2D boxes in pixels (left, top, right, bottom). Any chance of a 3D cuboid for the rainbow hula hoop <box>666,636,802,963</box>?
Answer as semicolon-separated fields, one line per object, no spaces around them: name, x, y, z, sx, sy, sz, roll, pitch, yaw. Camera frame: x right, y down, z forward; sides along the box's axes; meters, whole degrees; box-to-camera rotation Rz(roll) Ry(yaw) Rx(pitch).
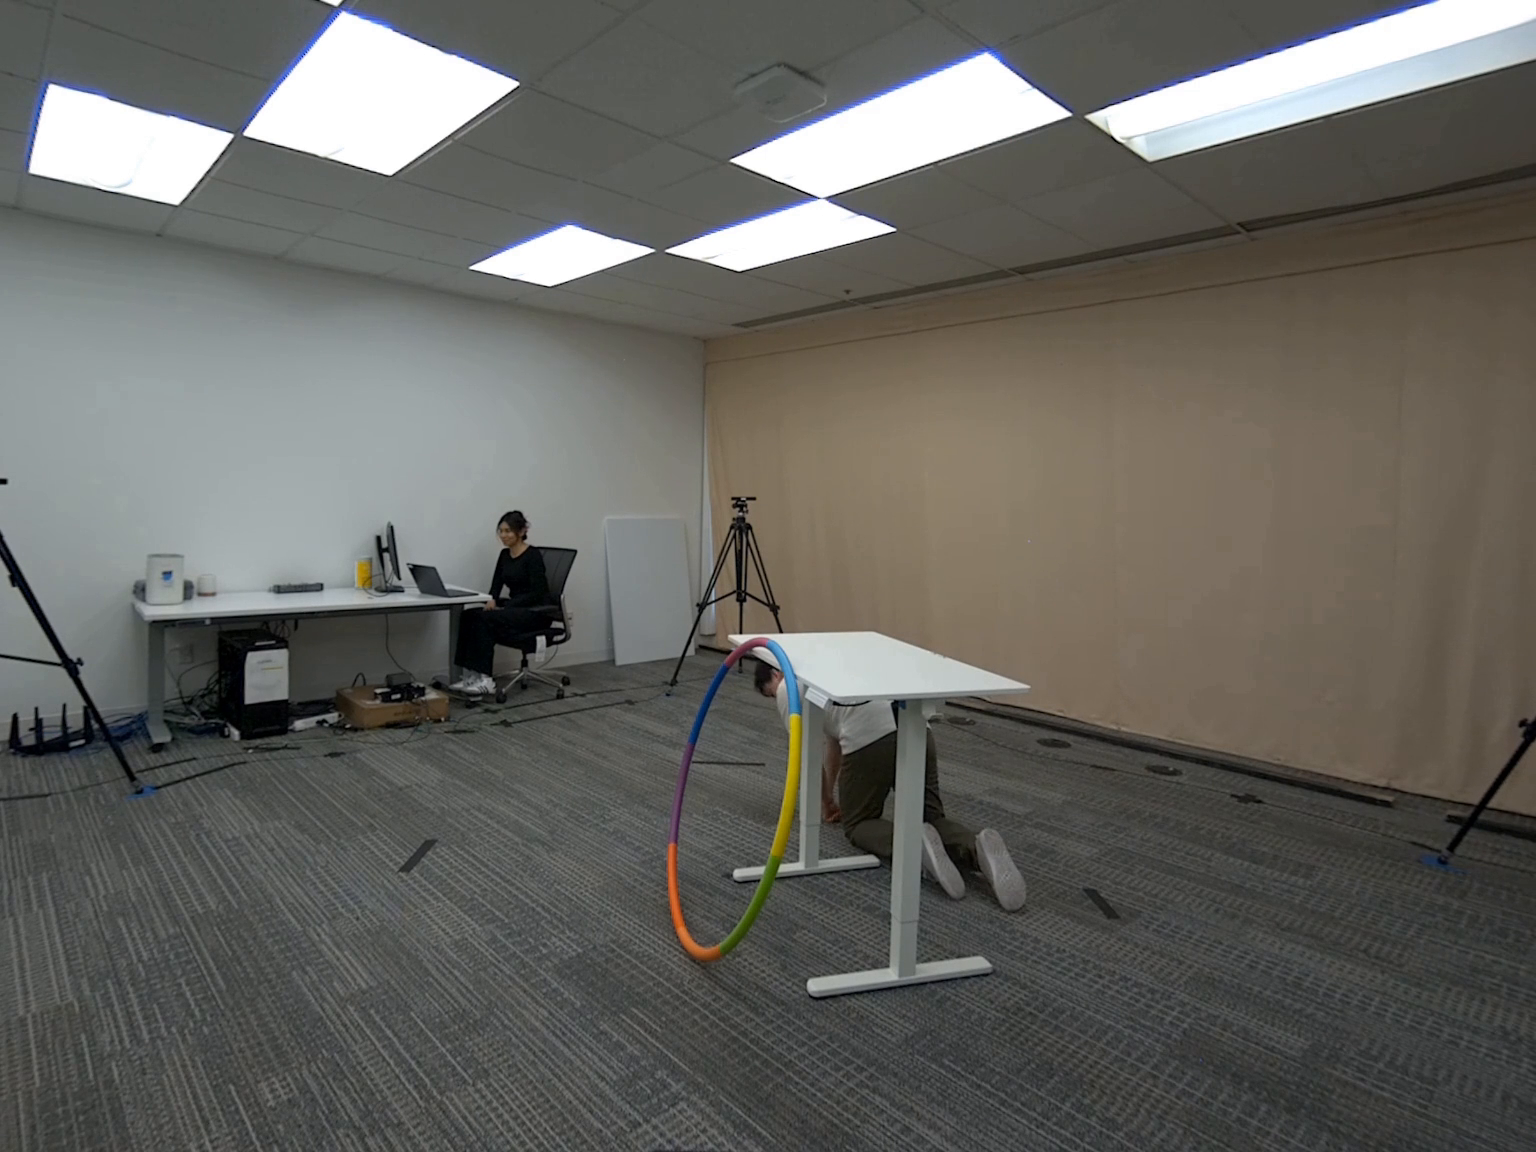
rainbow hula hoop;-0.144;0.683;2.658;0.035;0.979;0.995;17;-1;-19
